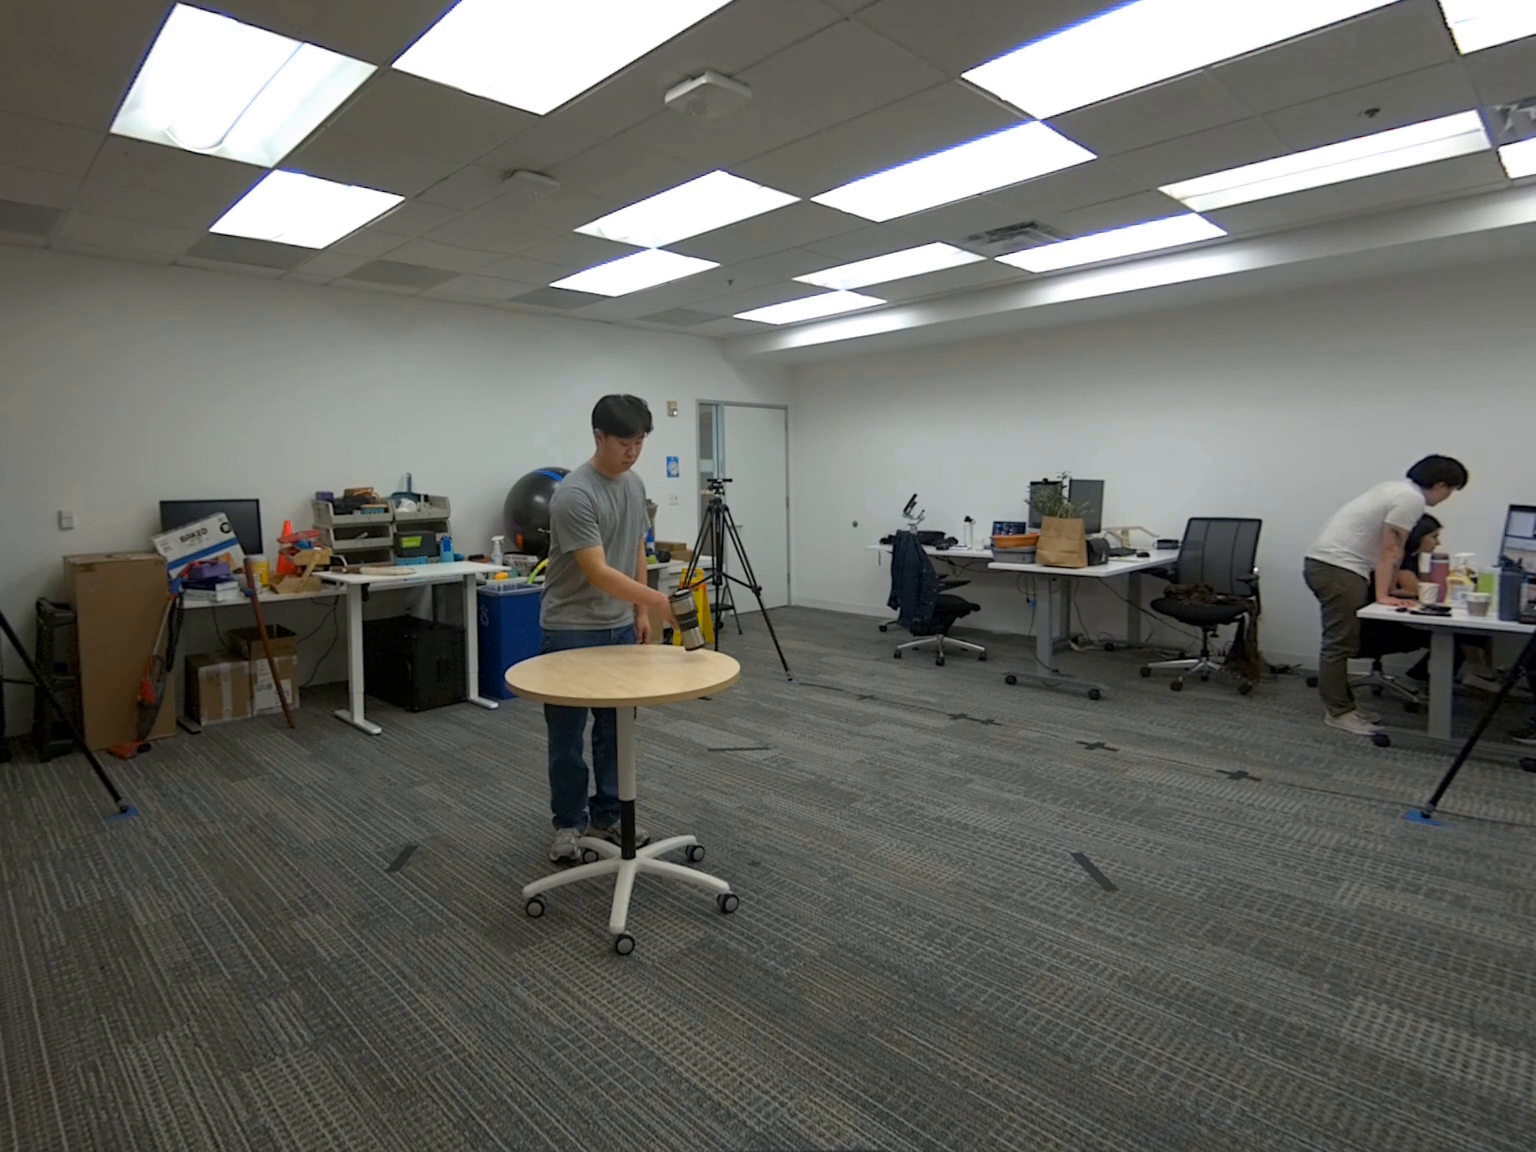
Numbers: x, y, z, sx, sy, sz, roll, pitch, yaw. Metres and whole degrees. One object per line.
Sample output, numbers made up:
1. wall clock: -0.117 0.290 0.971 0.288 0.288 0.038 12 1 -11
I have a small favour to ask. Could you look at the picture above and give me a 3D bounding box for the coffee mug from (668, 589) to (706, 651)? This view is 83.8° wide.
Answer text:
1. coffee mug: -0.268 0.160 2.879 0.086 0.203 0.124 -12 0 -33
